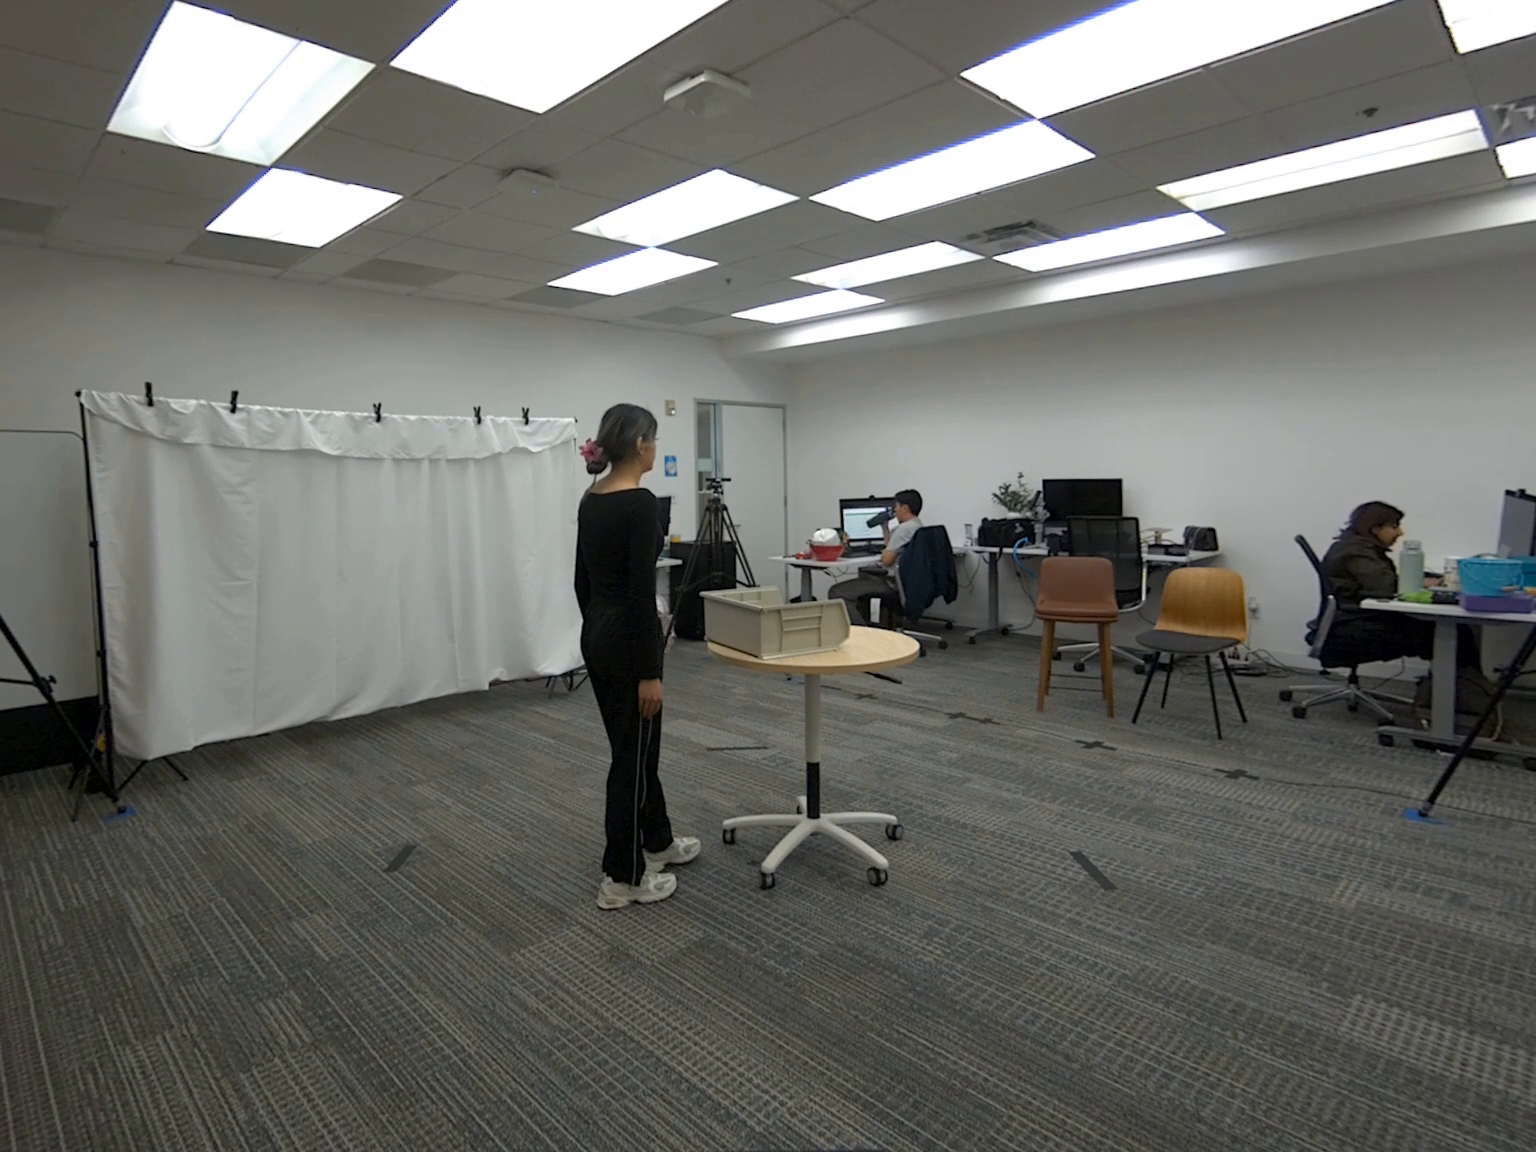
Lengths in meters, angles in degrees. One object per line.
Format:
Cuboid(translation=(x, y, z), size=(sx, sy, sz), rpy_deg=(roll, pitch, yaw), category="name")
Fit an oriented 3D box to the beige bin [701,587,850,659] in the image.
Cuboid(translation=(0.021, 0.158, 3.087), size=(0.369, 0.188, 0.435), rpy_deg=(-6, 9, -31), category="beige bin")
